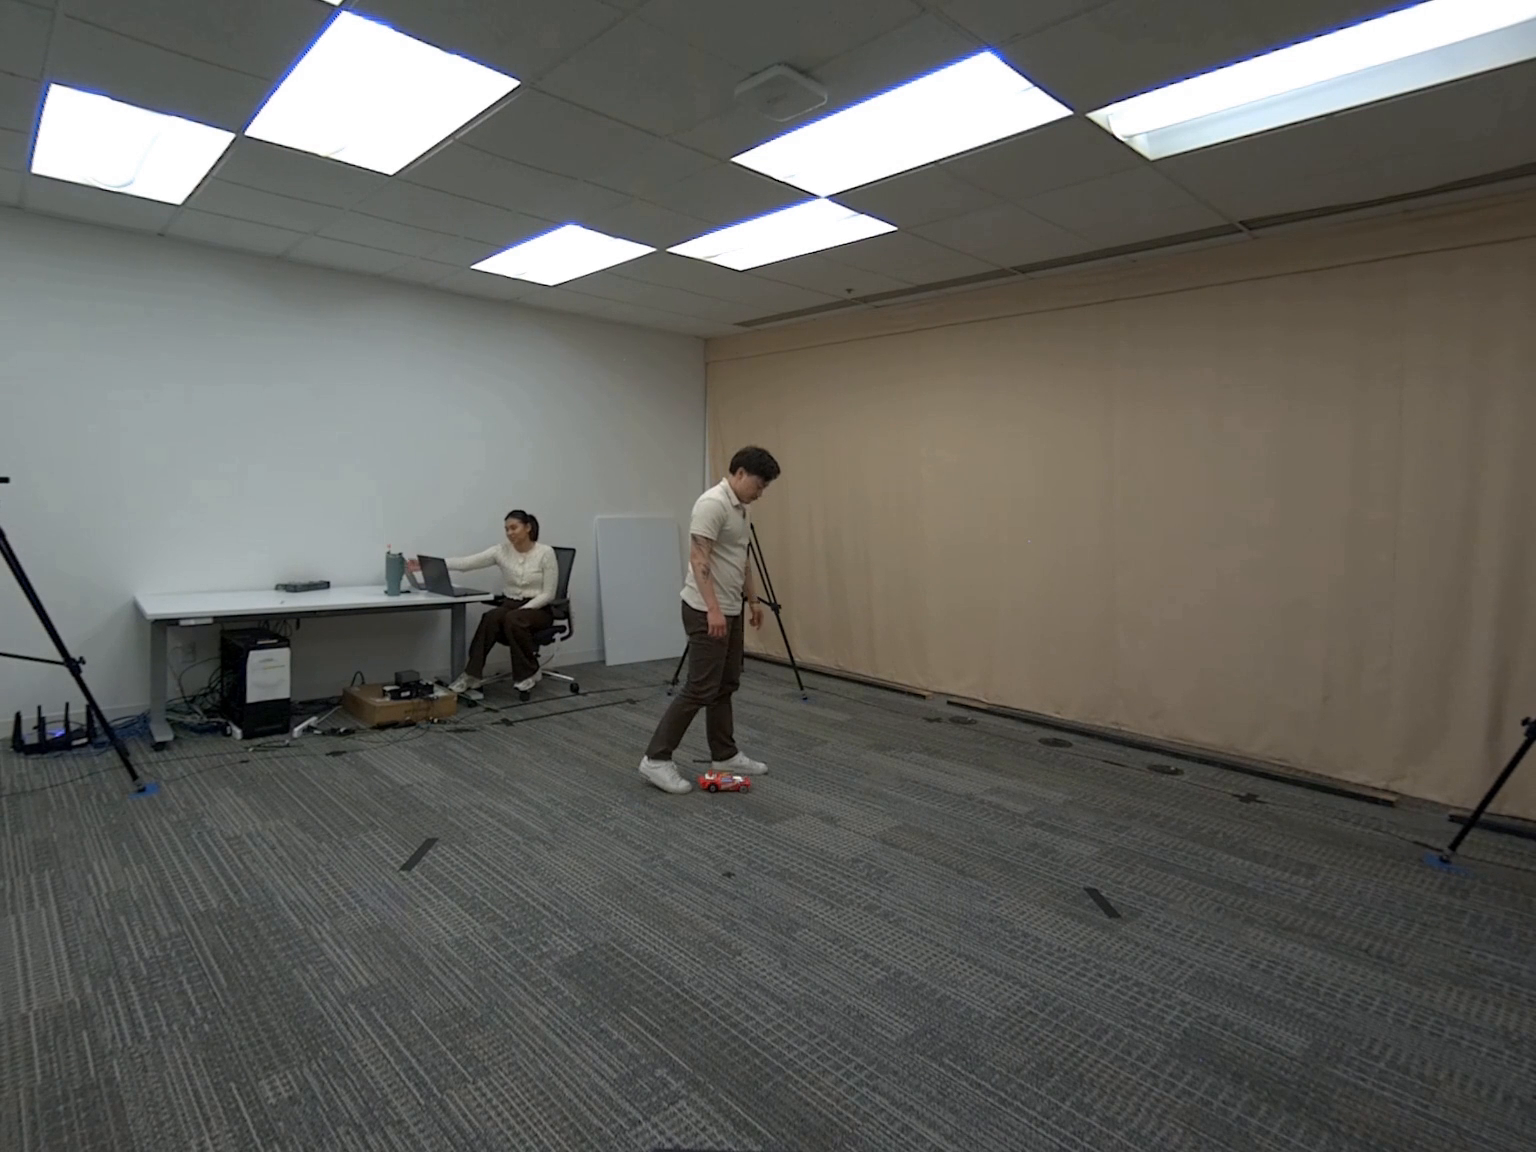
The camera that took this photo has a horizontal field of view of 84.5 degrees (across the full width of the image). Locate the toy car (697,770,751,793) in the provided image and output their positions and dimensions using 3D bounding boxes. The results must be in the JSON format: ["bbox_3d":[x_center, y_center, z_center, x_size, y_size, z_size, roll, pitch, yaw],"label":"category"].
[{"bbox_3d":[-0.228,0.991,4.030,0.253,0.083,0.131,11,4,-5],"label":"toy car"}]
